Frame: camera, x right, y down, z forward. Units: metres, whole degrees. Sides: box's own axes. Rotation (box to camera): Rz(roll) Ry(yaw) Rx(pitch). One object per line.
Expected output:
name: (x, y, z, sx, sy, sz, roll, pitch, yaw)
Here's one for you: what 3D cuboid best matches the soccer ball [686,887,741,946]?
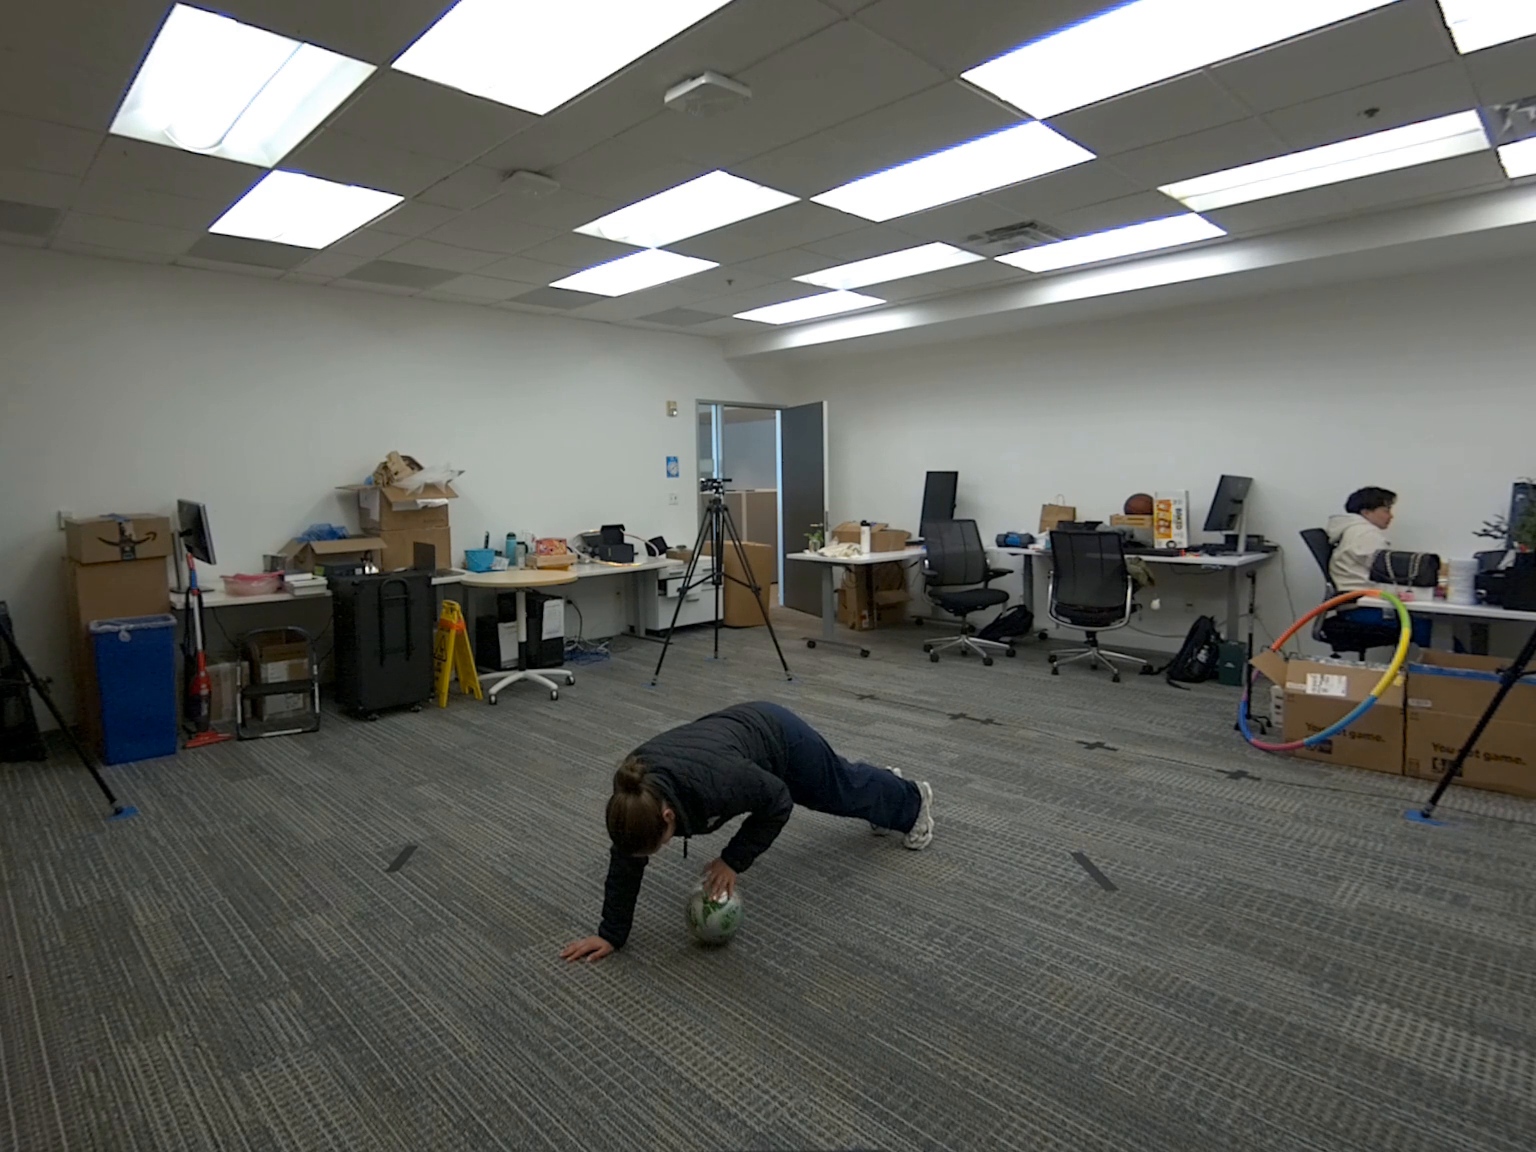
soccer ball: (-0.160, 1.008, 2.589, 0.187, 0.187, 0.188, -1, 5, -2)
